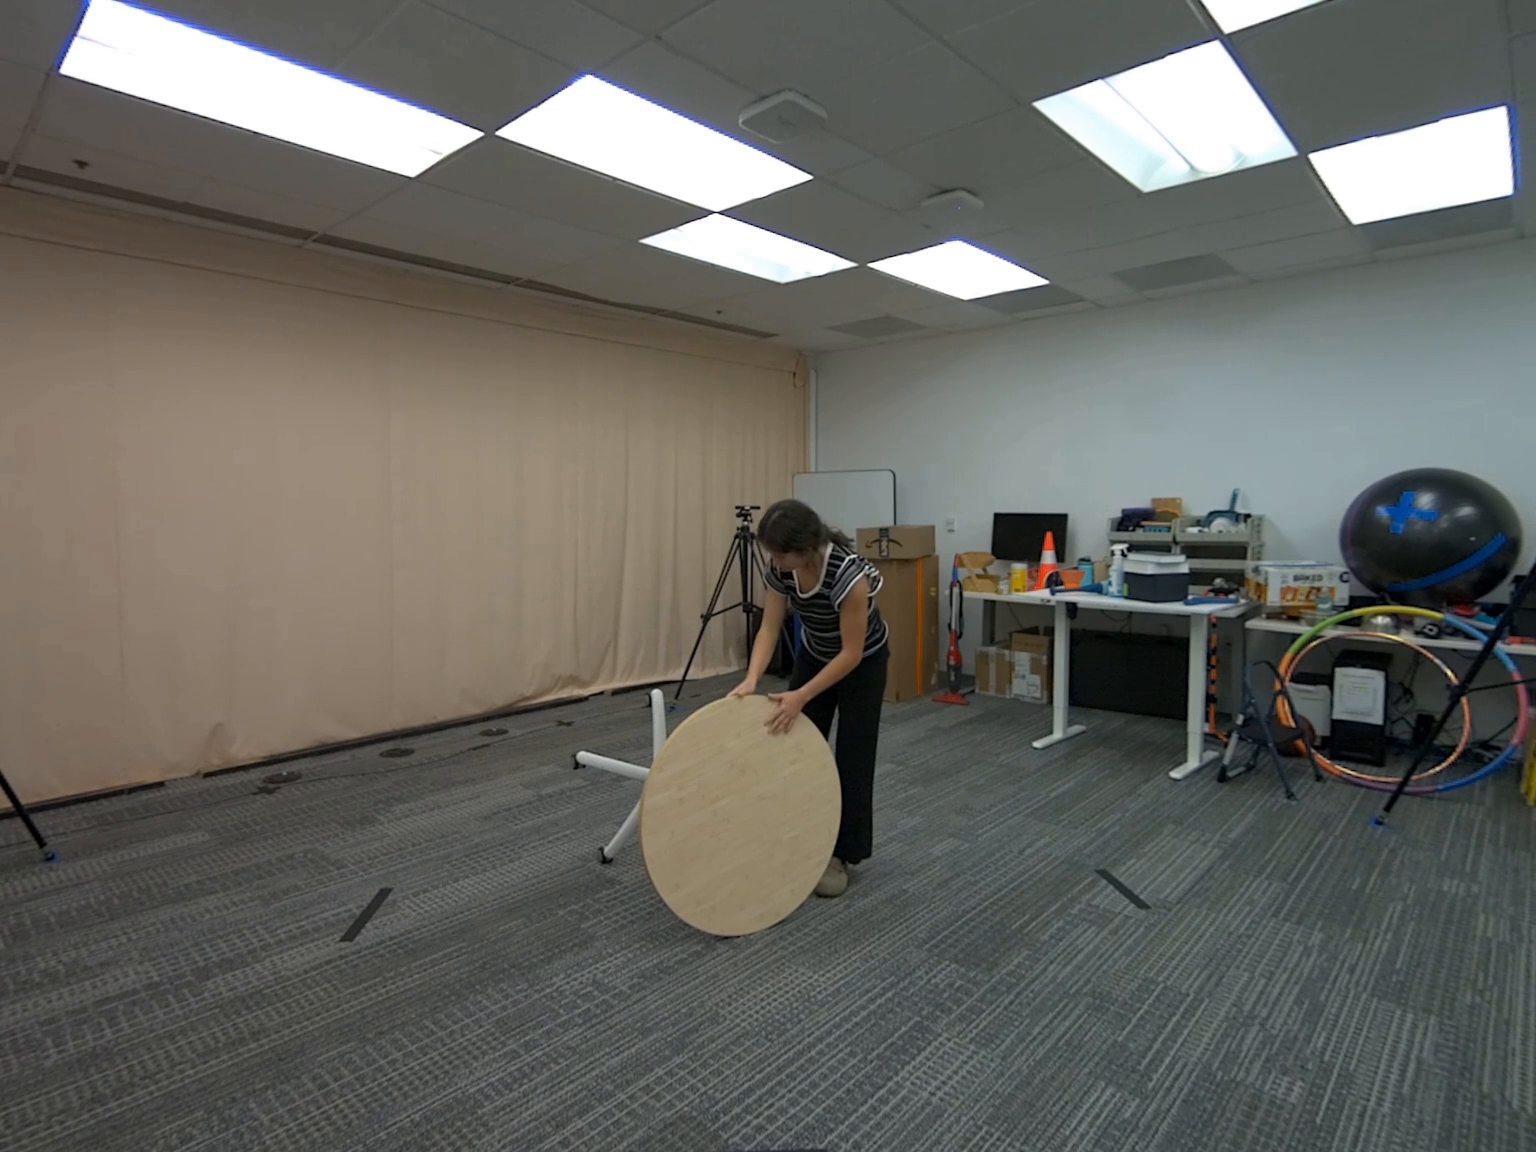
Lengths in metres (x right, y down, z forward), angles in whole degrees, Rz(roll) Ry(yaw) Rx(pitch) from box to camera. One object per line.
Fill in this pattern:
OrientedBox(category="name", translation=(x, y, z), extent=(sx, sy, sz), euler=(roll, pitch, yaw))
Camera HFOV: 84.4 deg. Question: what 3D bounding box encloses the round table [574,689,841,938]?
OrientedBox(category="round table", translation=(-0.283, 0.798, 3.109), extent=(0.743, 0.765, 0.815), euler=(-2, -2, -31))
